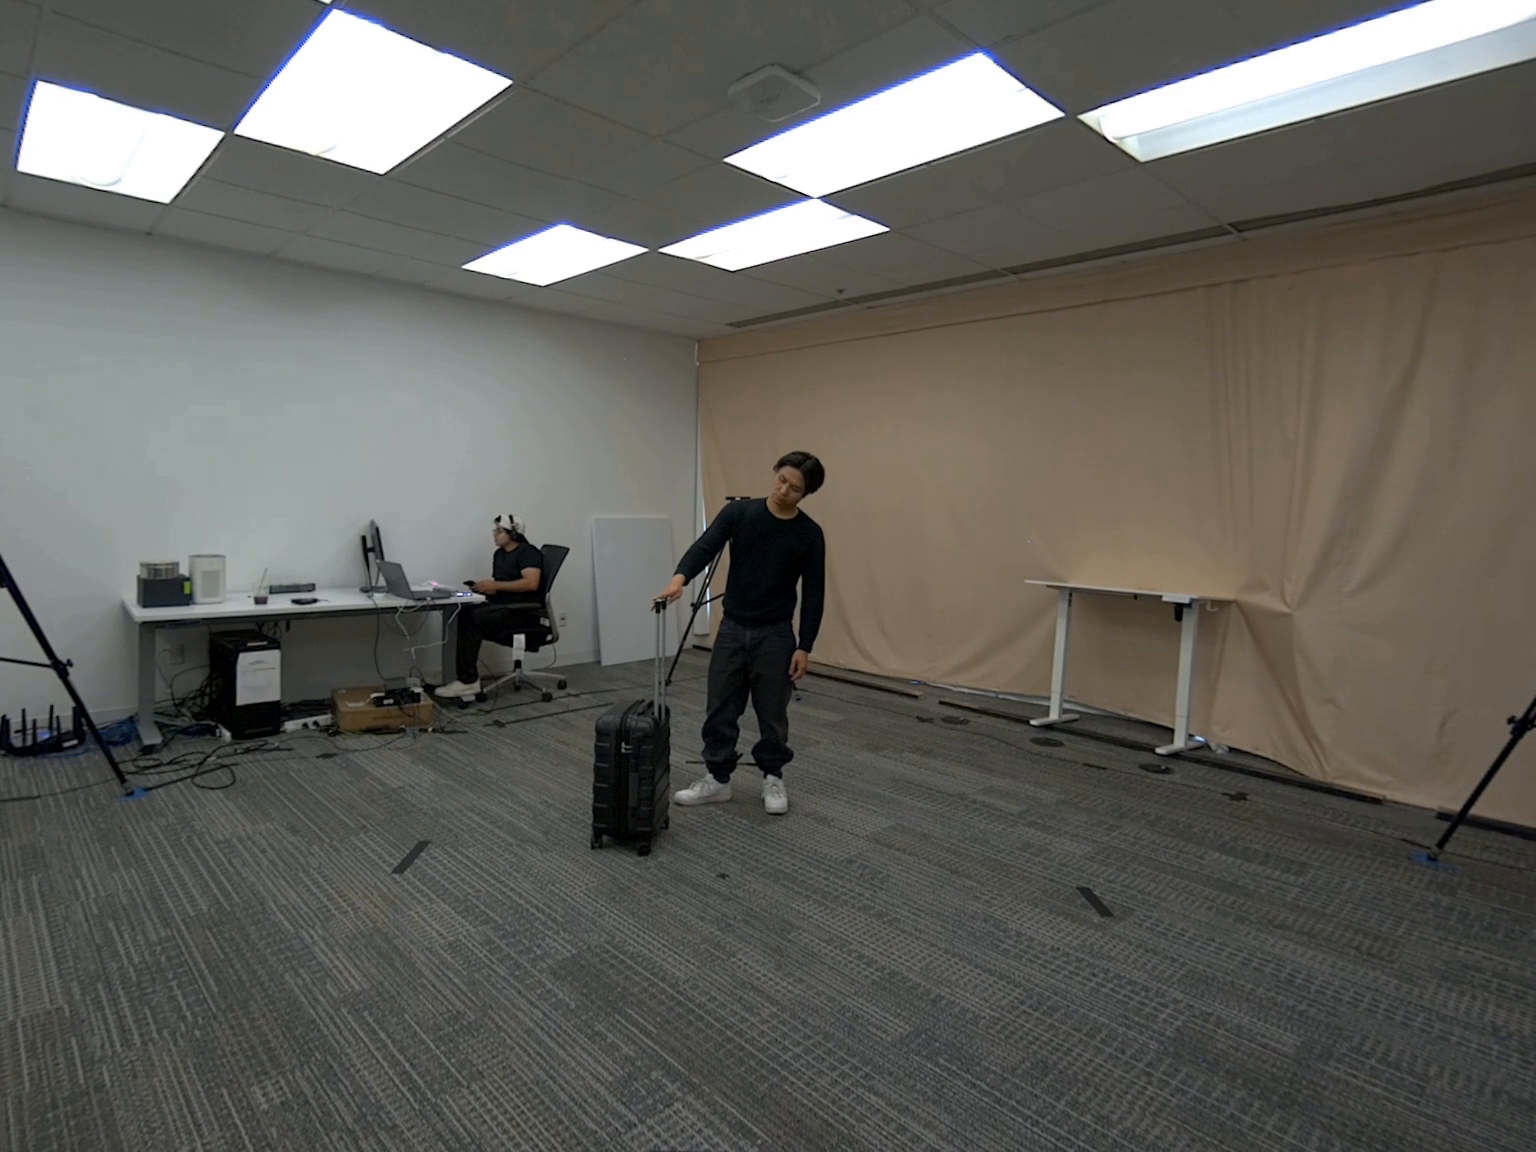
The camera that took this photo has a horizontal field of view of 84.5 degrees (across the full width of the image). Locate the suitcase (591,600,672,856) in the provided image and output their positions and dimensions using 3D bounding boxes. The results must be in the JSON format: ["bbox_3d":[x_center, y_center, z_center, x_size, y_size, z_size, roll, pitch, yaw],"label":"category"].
[{"bbox_3d":[-0.557,0.594,3.418,0.258,0.977,0.382,0,2,6],"label":"suitcase"}]
